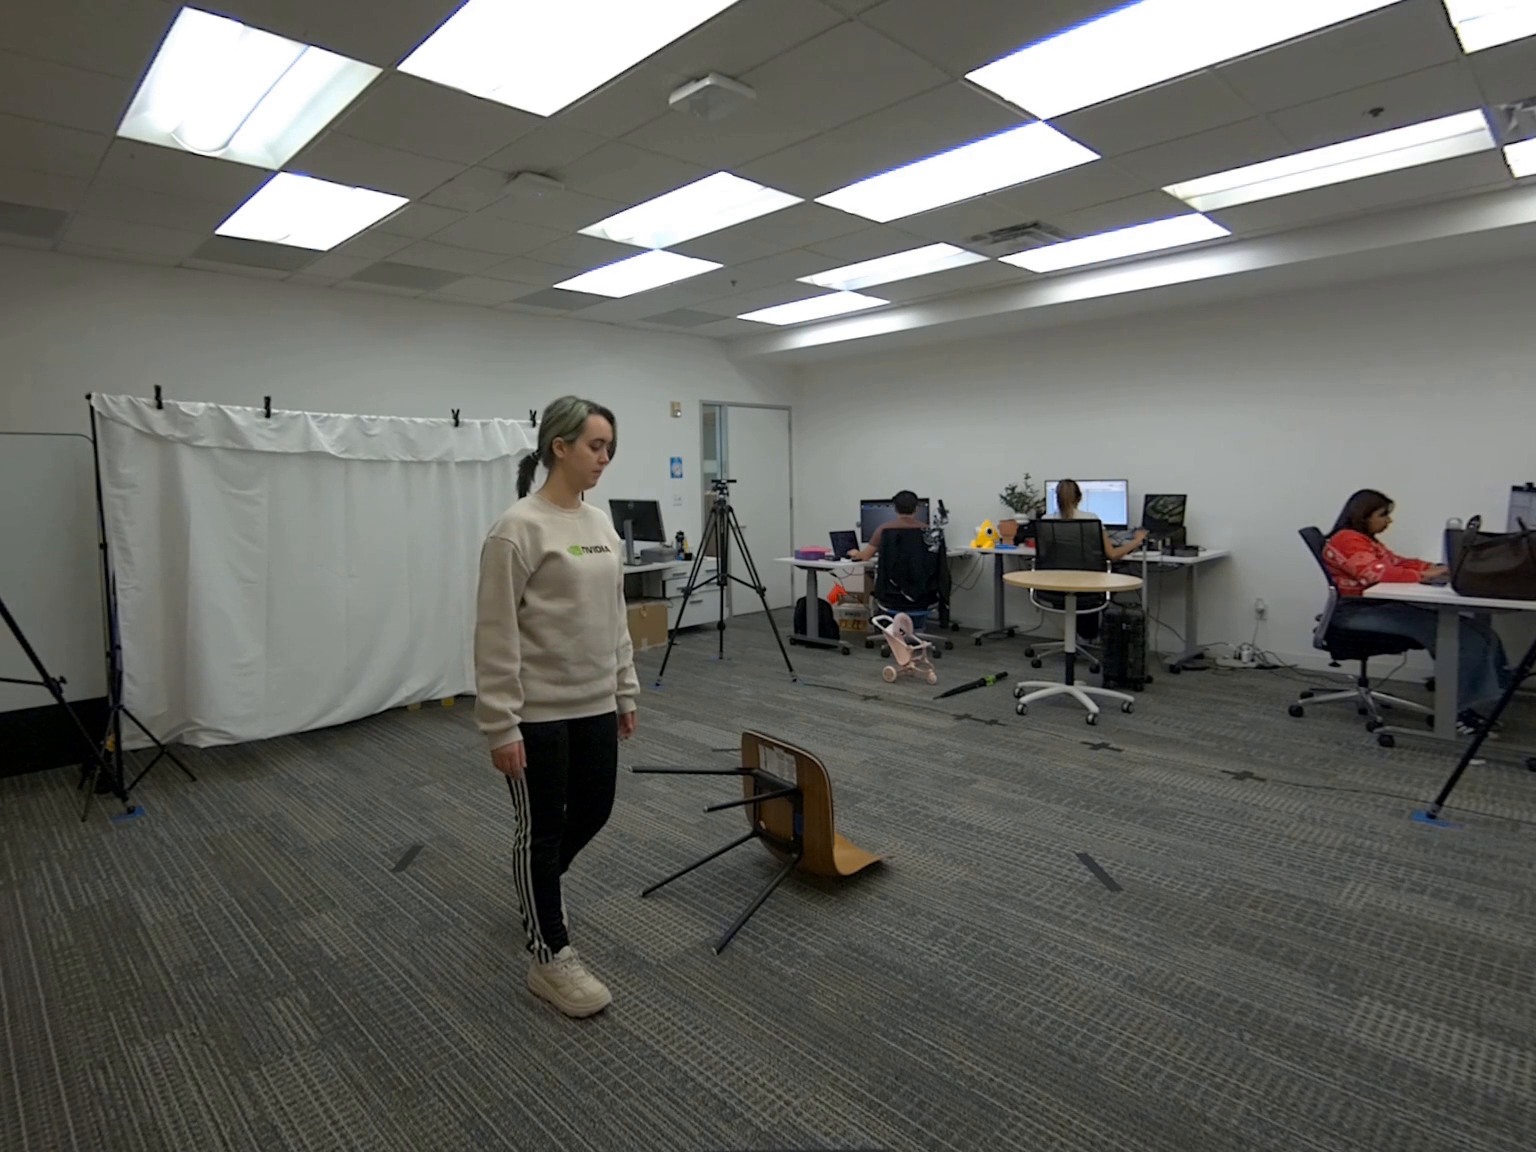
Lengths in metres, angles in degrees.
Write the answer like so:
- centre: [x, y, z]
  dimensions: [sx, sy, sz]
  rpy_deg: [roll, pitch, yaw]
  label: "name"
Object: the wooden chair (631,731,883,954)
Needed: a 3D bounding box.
- centre: [0.028, 0.811, 2.915]
  dimensions: [0.854, 0.521, 0.492]
  rpy_deg: [-4, 6, -37]
  label: "wooden chair"
